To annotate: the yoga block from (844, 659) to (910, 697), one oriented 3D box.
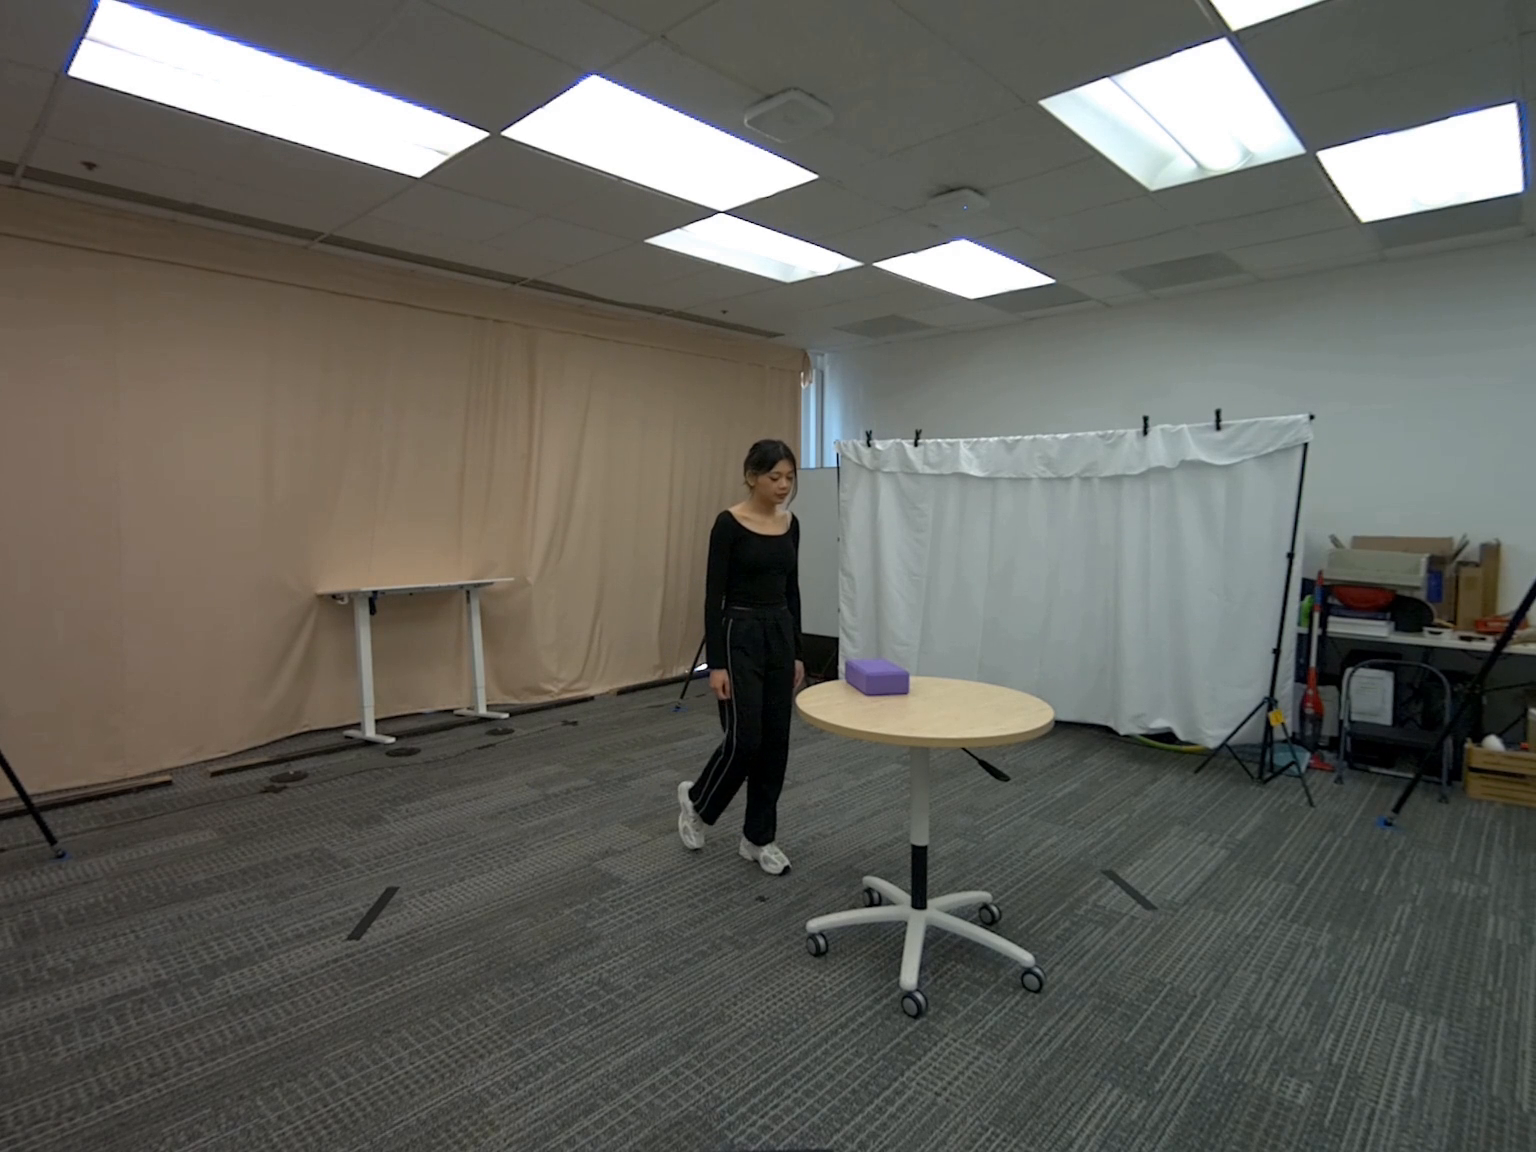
[{"bbox_3d":[0.367,0.334,2.784,0.148,0.076,0.232,0,5,-9],"label":"yoga block"}]
